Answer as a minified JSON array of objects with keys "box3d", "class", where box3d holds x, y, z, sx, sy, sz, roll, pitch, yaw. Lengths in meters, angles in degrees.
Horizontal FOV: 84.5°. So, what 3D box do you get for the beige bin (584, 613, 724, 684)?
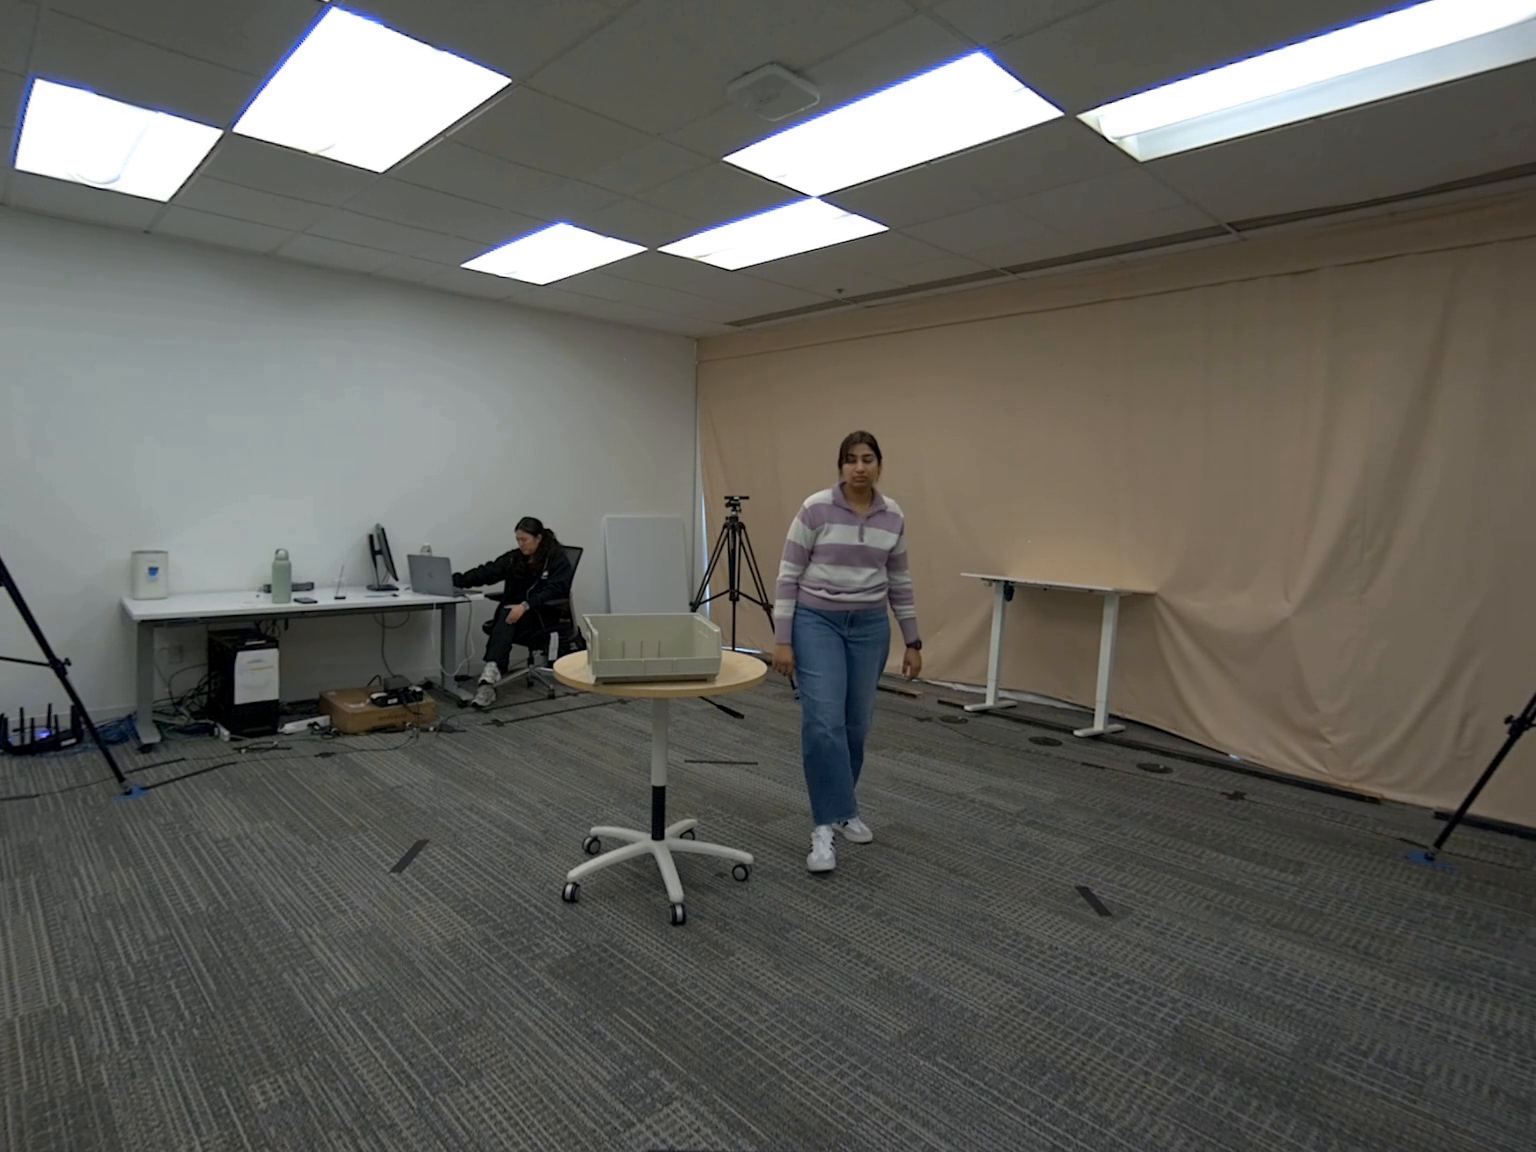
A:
[{"box3d":[-0.409,0.252,2.866,0.417,0.188,0.383,0,5,-15],"class":"beige bin"}]
